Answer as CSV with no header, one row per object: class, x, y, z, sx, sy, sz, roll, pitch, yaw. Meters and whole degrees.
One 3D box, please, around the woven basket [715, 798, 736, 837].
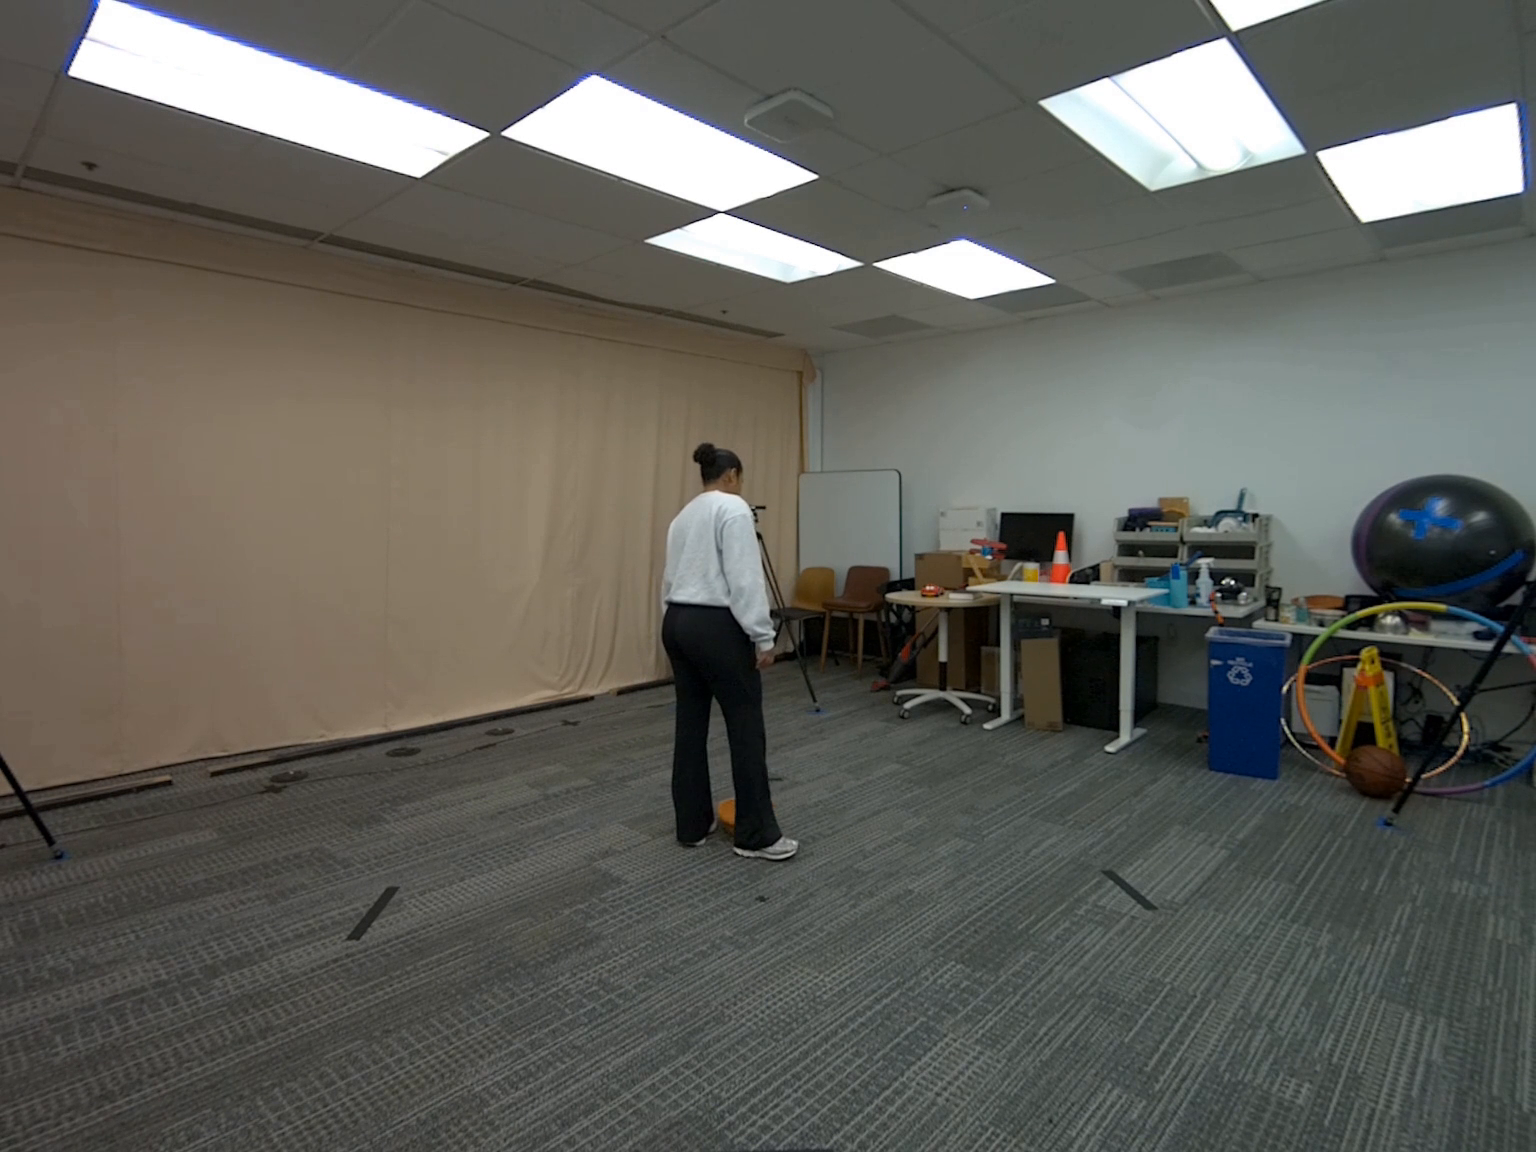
woven basket,-0.099,1.046,3.654,0.251,0.073,0.353,-1,4,-5
